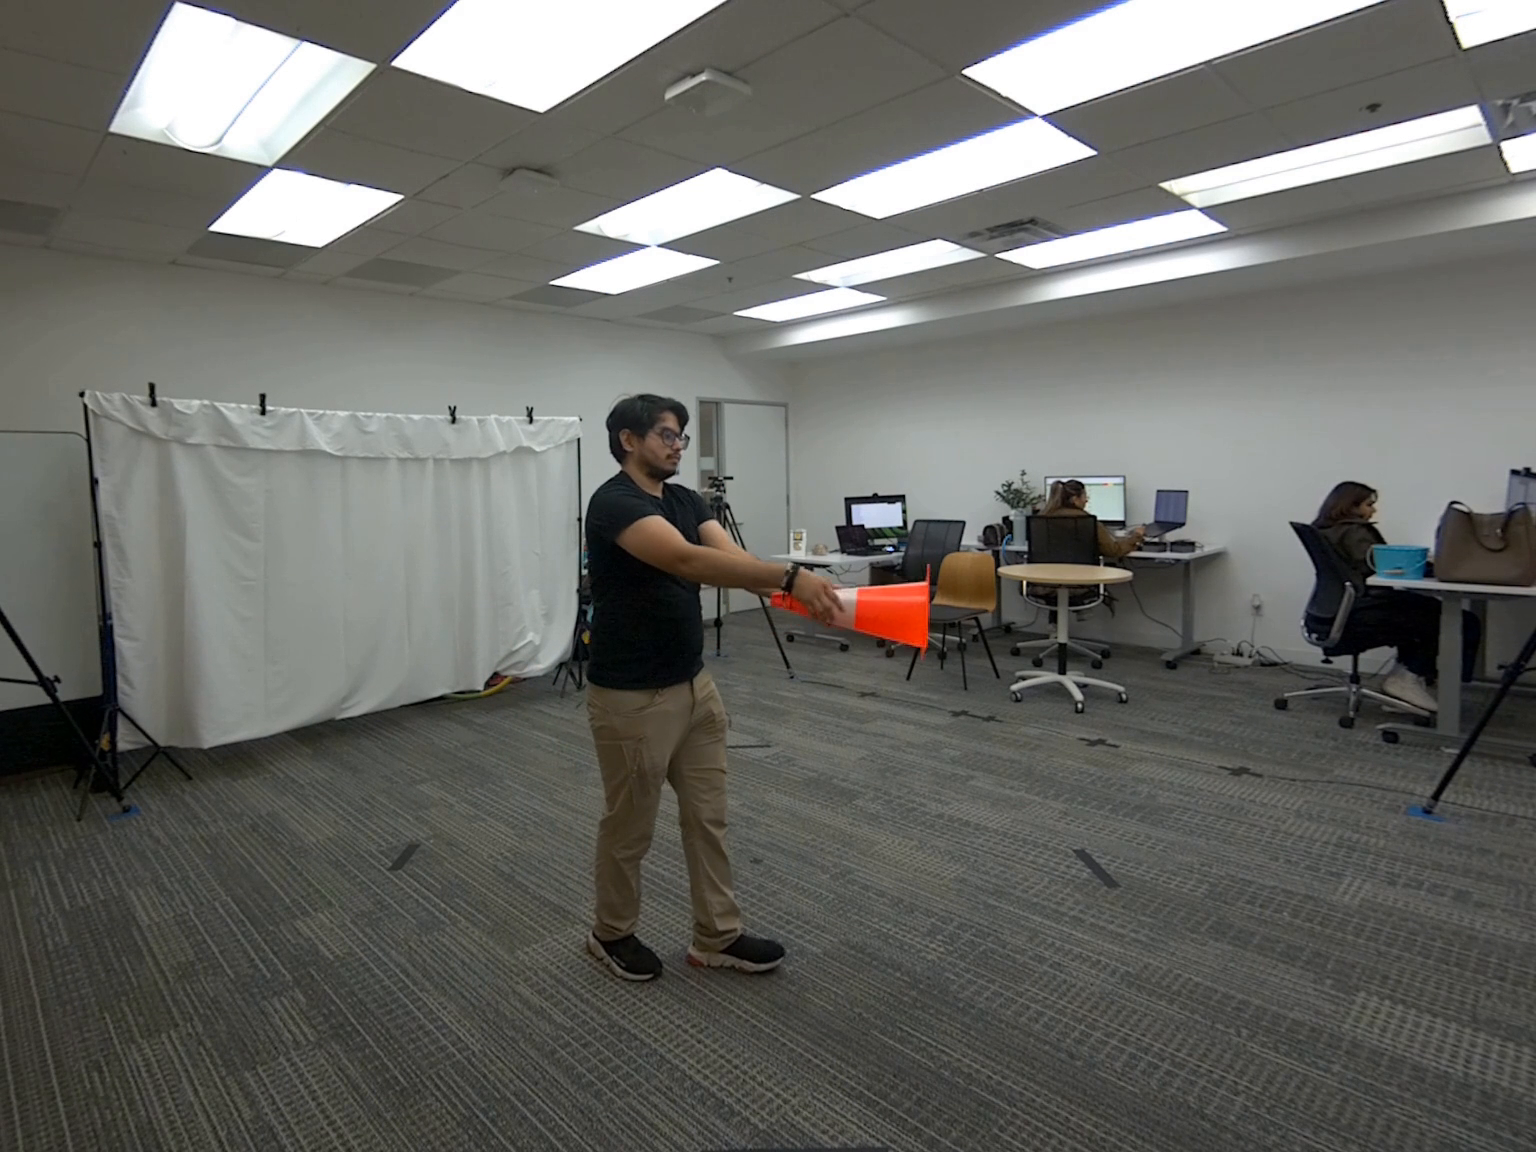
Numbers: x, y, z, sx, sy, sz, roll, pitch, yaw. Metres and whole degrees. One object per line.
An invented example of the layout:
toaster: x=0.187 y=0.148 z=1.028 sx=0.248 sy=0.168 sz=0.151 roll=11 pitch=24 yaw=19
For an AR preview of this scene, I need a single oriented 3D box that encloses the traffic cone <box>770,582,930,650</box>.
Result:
traffic cone: x=0.193 y=0.083 z=2.114 sx=0.388 sy=0.209 sz=0.197 roll=1 pitch=-30 yaw=12
